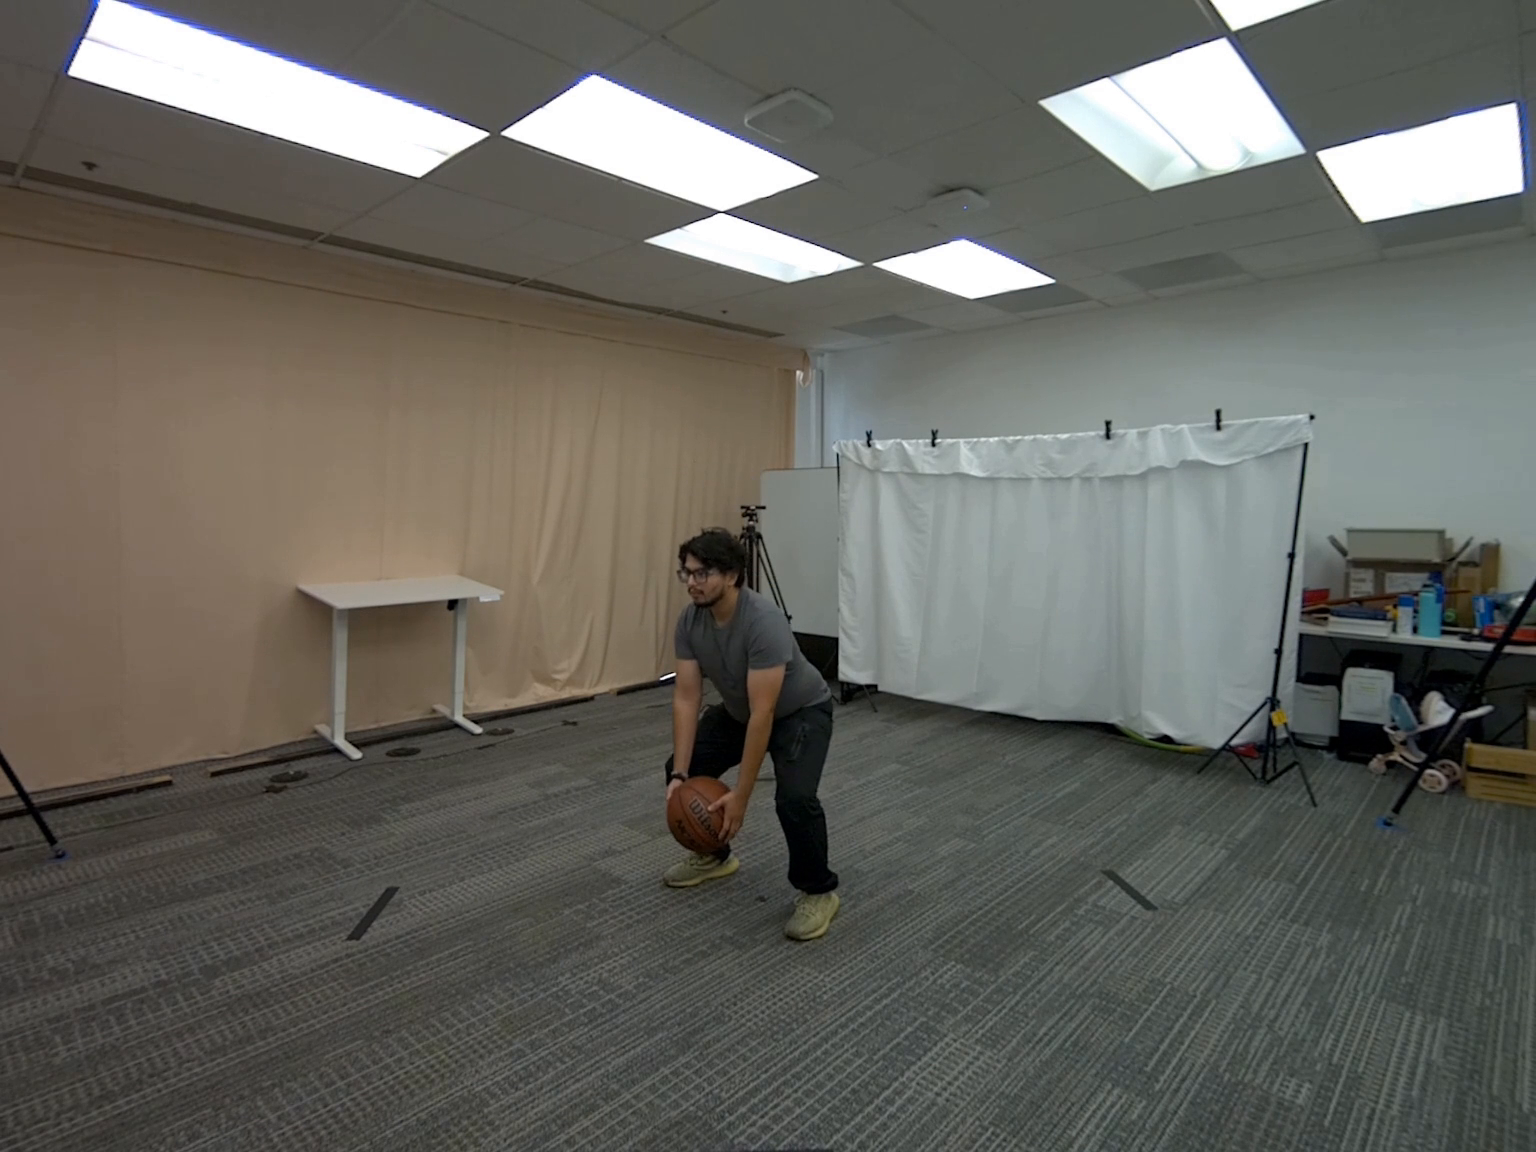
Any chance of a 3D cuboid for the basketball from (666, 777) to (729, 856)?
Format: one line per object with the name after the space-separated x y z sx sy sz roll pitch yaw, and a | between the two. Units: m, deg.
-0.213 0.773 2.763 0.236 0.235 0.237 0 4 -2 | basketball
